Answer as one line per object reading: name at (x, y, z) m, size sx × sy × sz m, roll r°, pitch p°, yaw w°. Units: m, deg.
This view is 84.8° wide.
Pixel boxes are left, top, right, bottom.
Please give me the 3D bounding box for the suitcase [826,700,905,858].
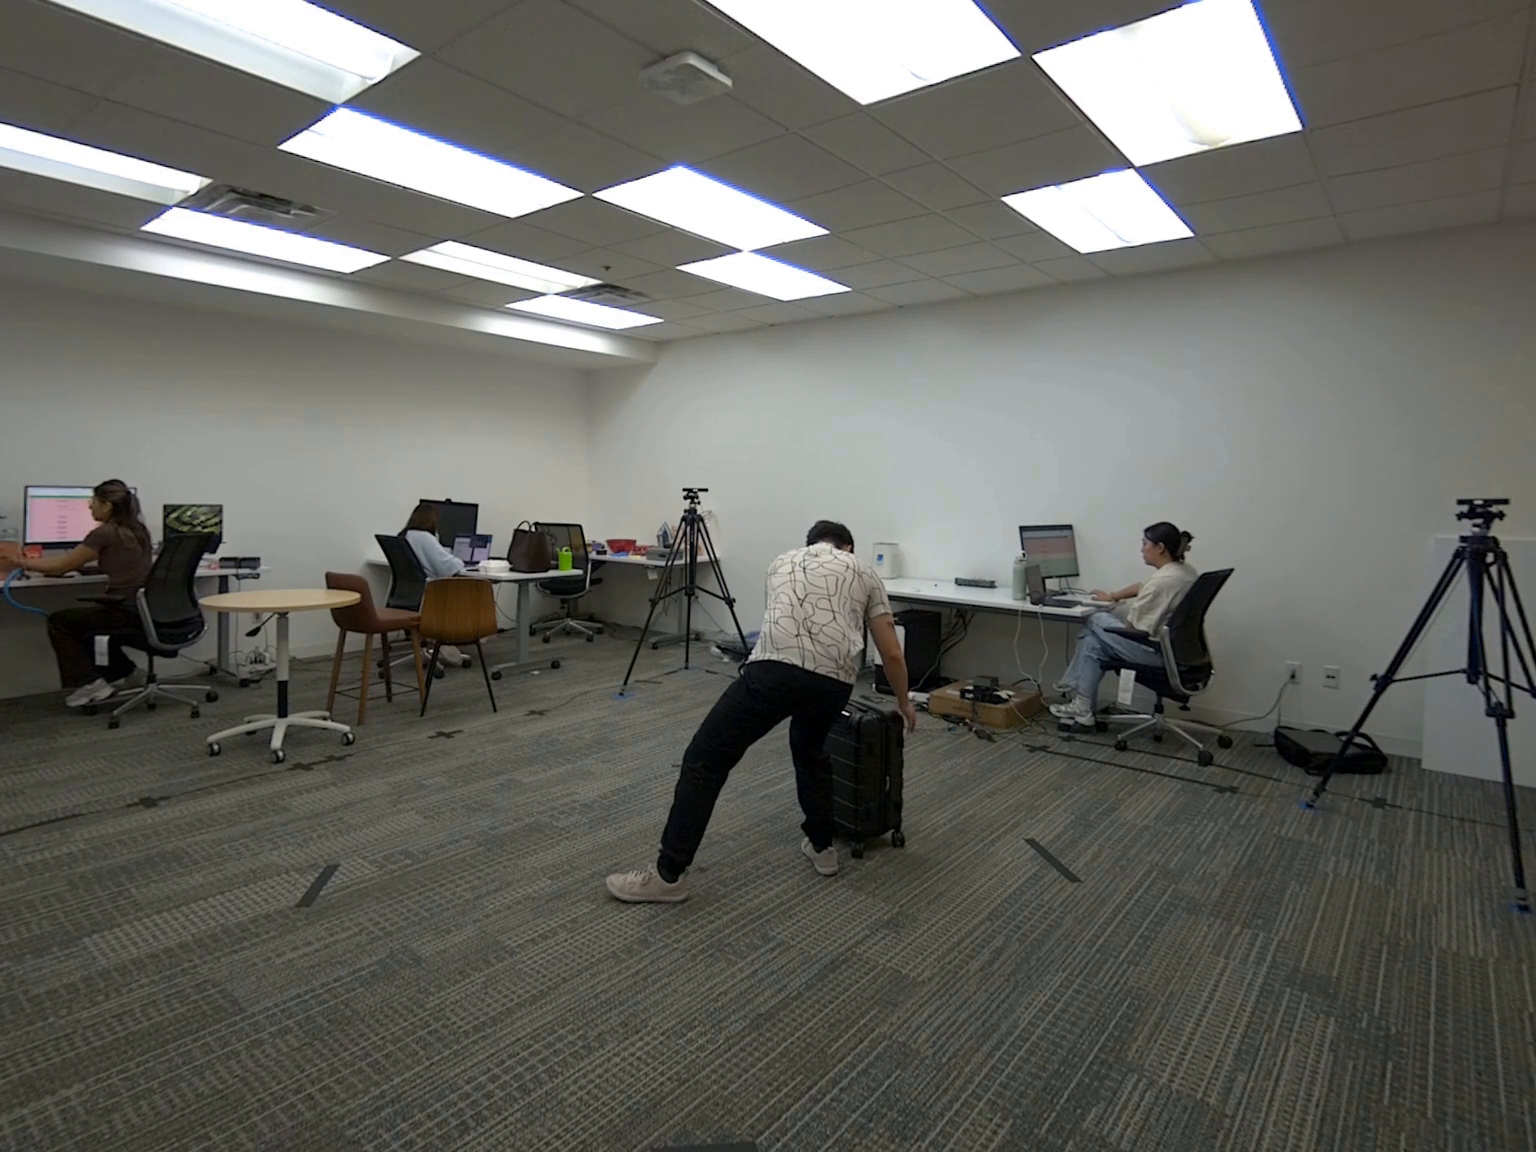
suitcase at (0.342, 0.770, 3.438) m, size 0.241 × 0.548 × 0.387 m, roll -2°, pitch 3°, yaw -34°
